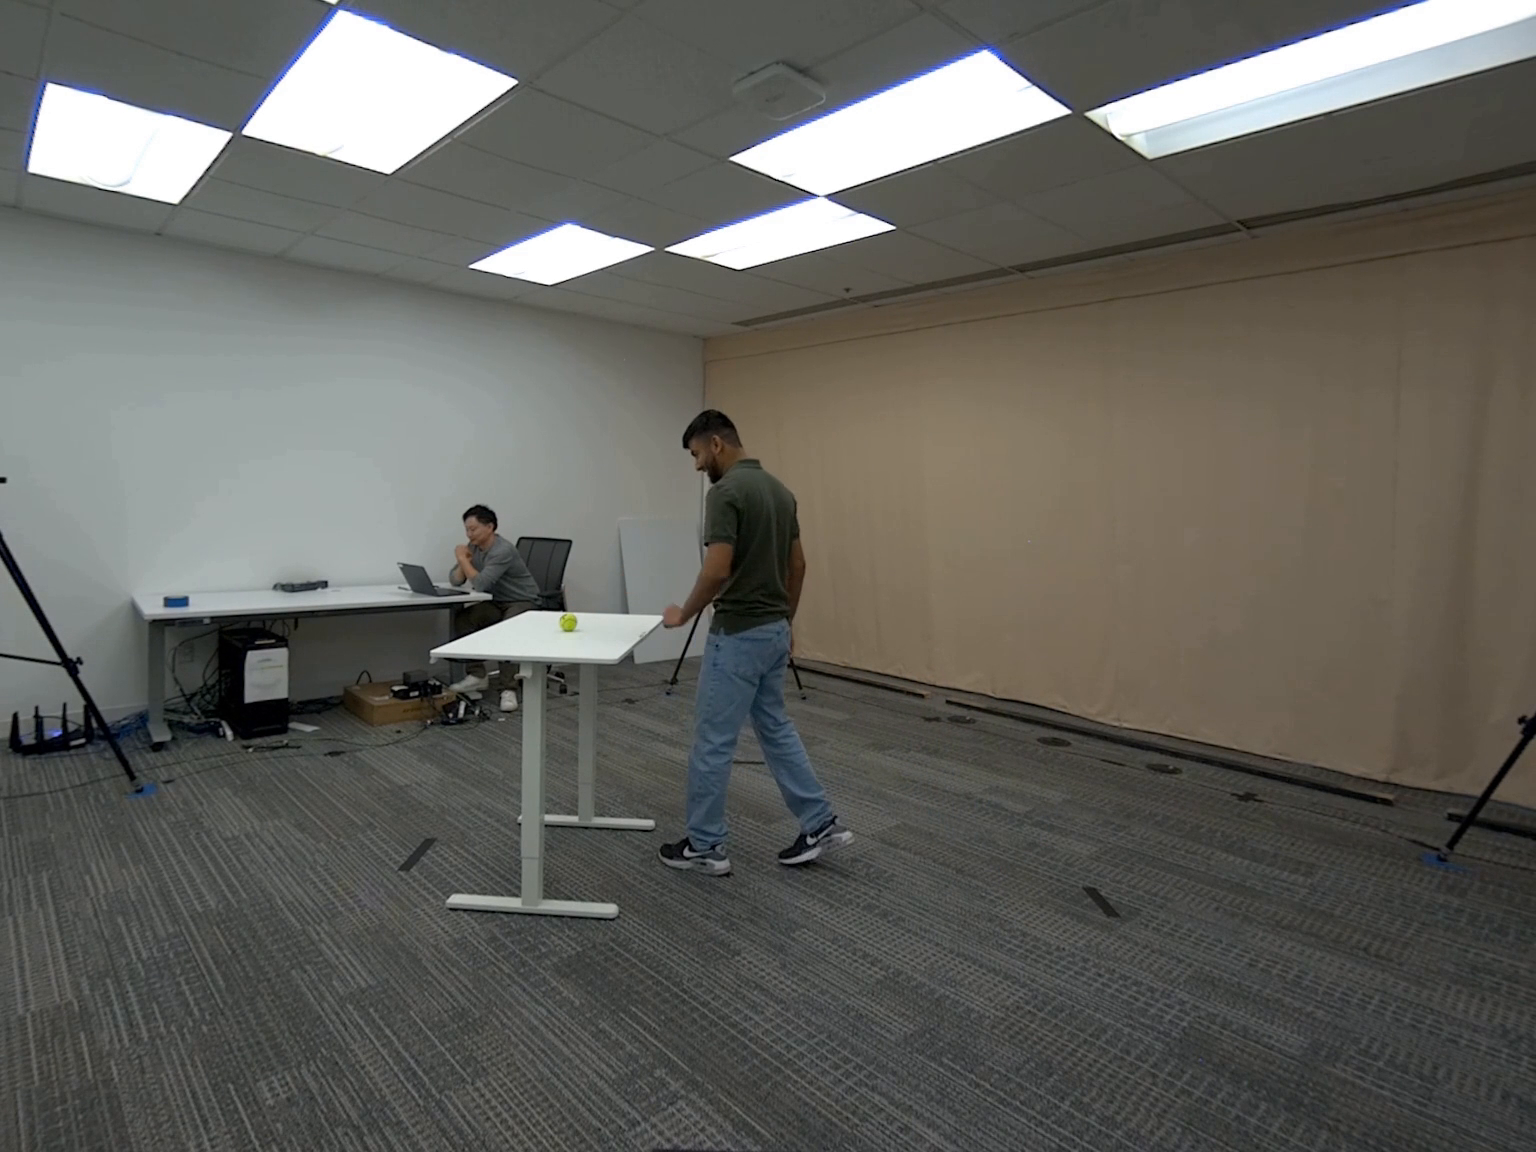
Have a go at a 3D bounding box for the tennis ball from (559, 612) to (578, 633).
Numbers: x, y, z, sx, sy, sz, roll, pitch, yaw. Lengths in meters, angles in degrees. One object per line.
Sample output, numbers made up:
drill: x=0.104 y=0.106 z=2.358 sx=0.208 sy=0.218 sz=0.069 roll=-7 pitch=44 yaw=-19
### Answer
tennis ball: x=-0.737 y=0.171 z=3.133 sx=0.066 sy=0.066 sz=0.067 roll=1 pitch=4 yaw=-1
